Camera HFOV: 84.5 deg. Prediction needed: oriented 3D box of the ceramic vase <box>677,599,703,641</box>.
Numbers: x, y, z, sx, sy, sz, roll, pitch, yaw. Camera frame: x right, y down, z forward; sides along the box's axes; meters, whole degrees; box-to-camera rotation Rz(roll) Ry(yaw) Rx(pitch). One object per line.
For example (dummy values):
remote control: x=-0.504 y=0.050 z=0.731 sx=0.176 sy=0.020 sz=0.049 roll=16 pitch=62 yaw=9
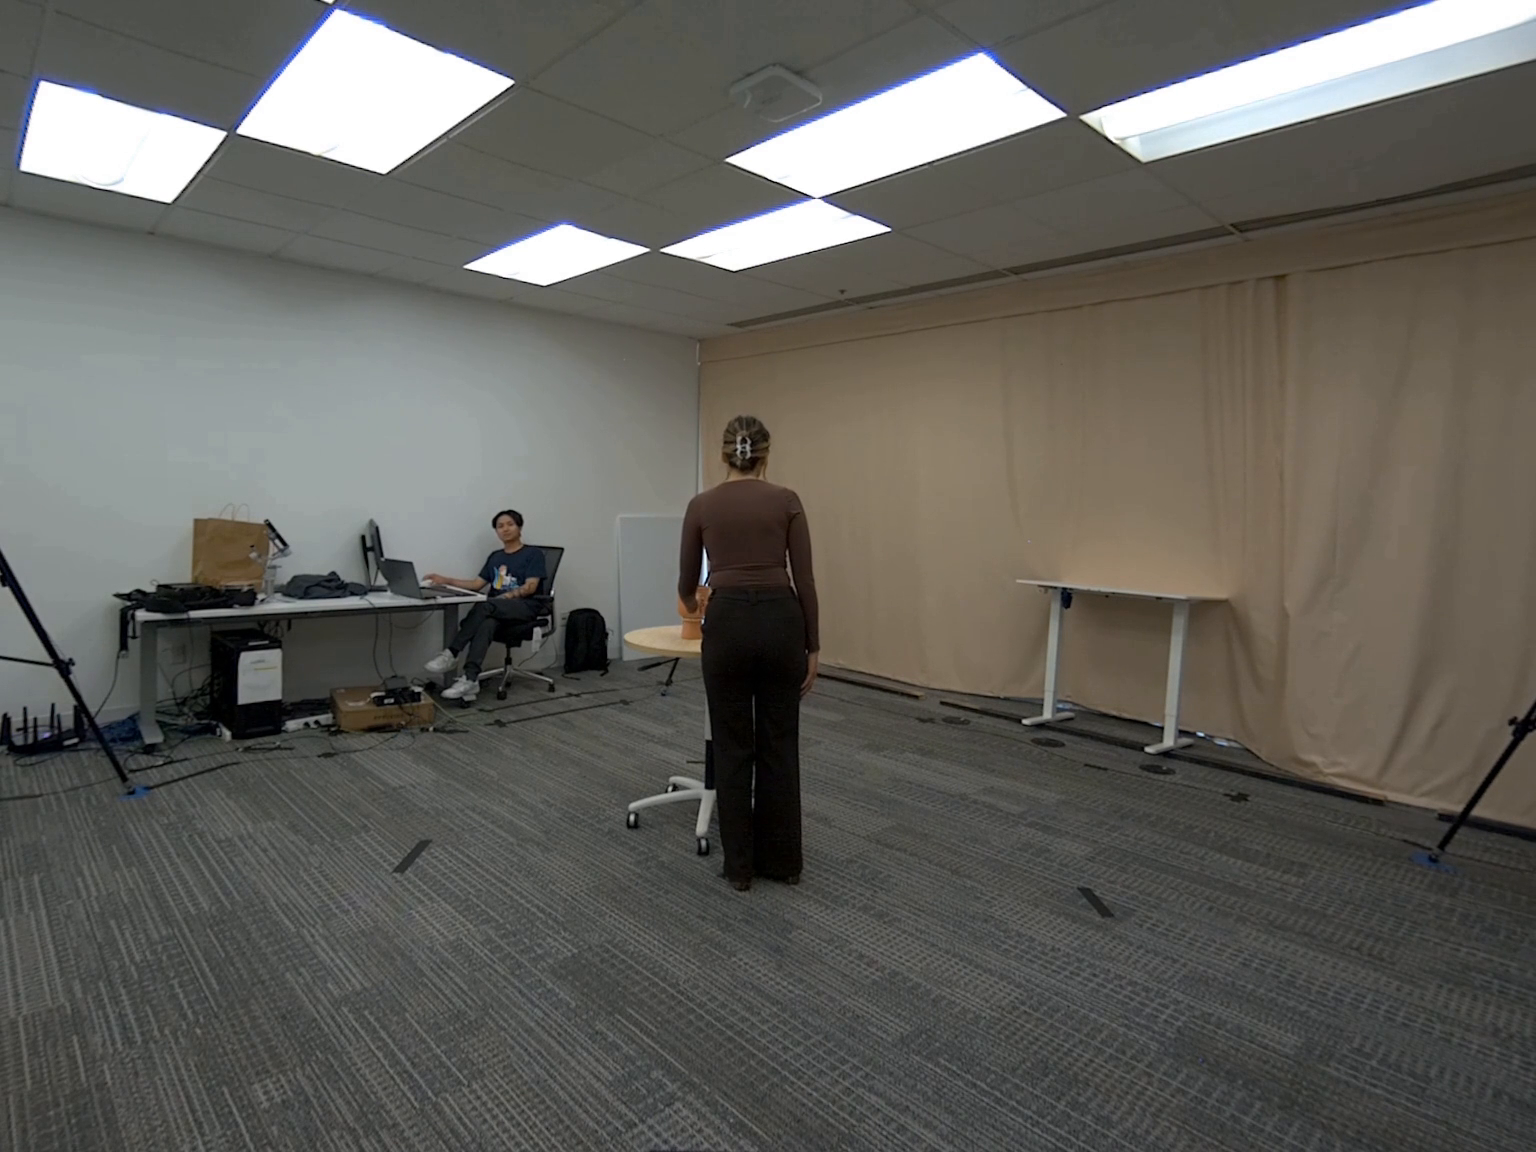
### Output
ceramic vase: x=-0.326 y=0.155 z=3.570 sx=0.137 sy=0.219 sz=0.156 roll=3 pitch=4 yaw=23
